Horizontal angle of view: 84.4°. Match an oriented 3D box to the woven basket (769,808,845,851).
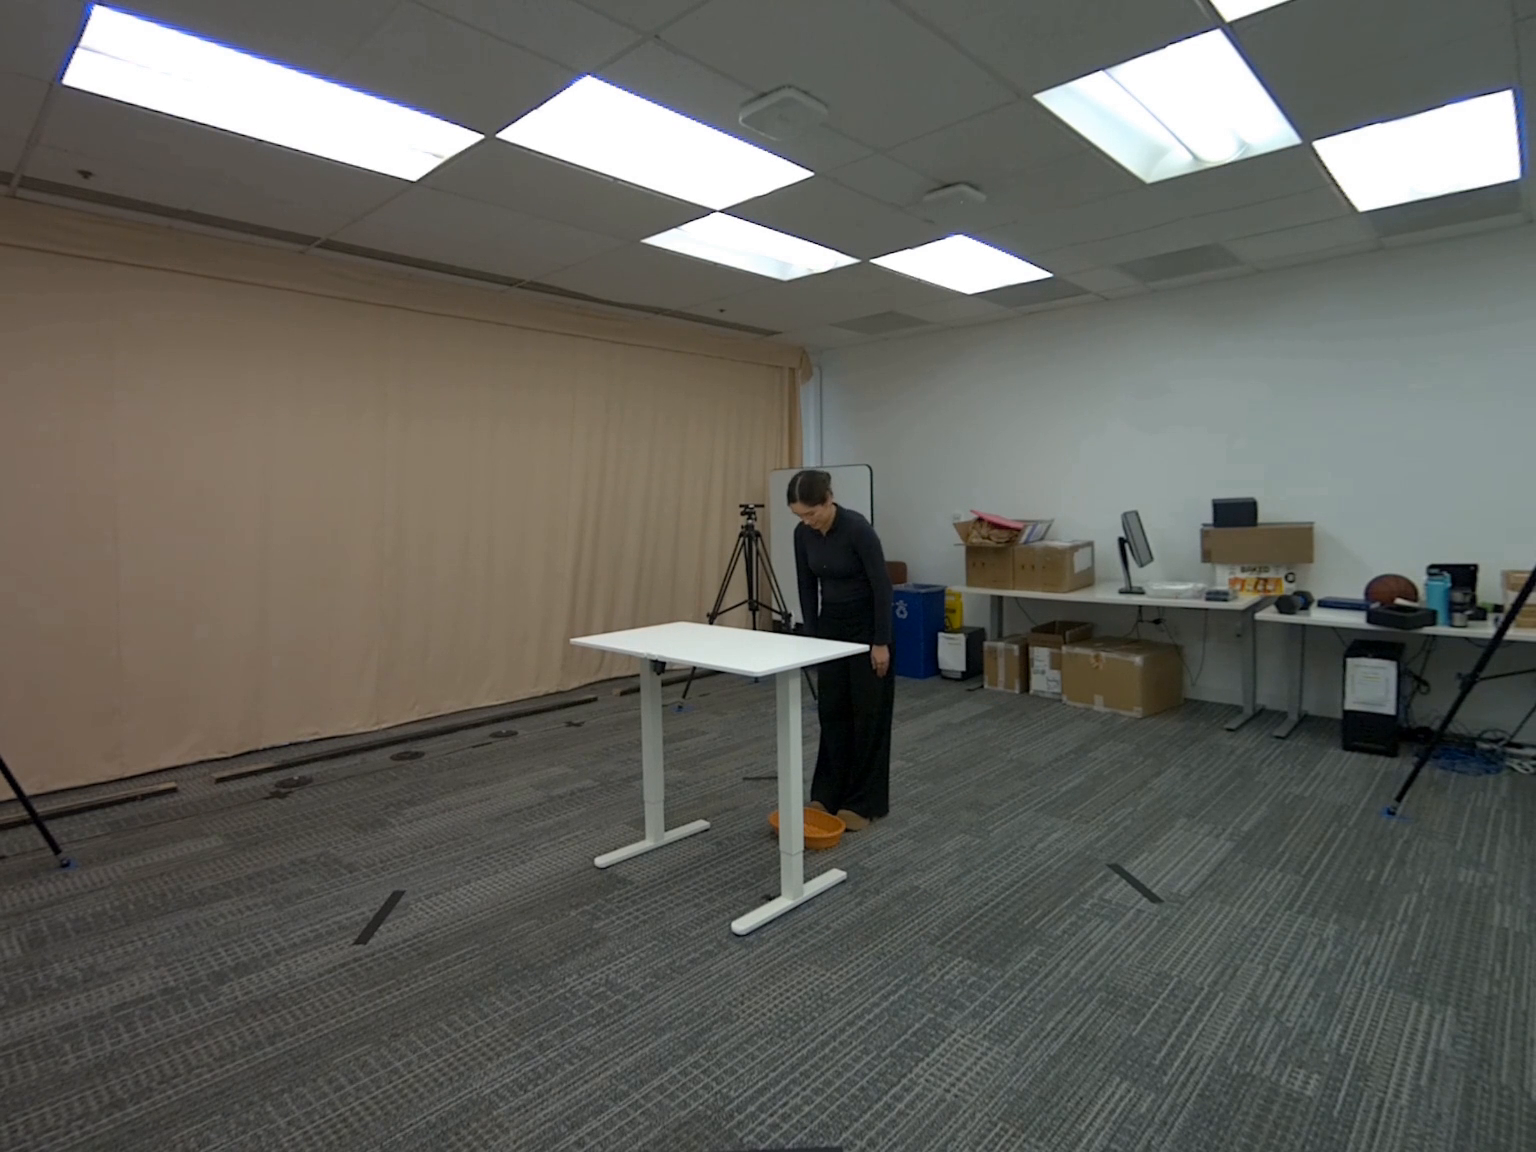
[{"bbox_3d":[0.156,1.047,3.506,0.245,0.073,0.362,-6,7,-41],"label":"woven basket"}]
